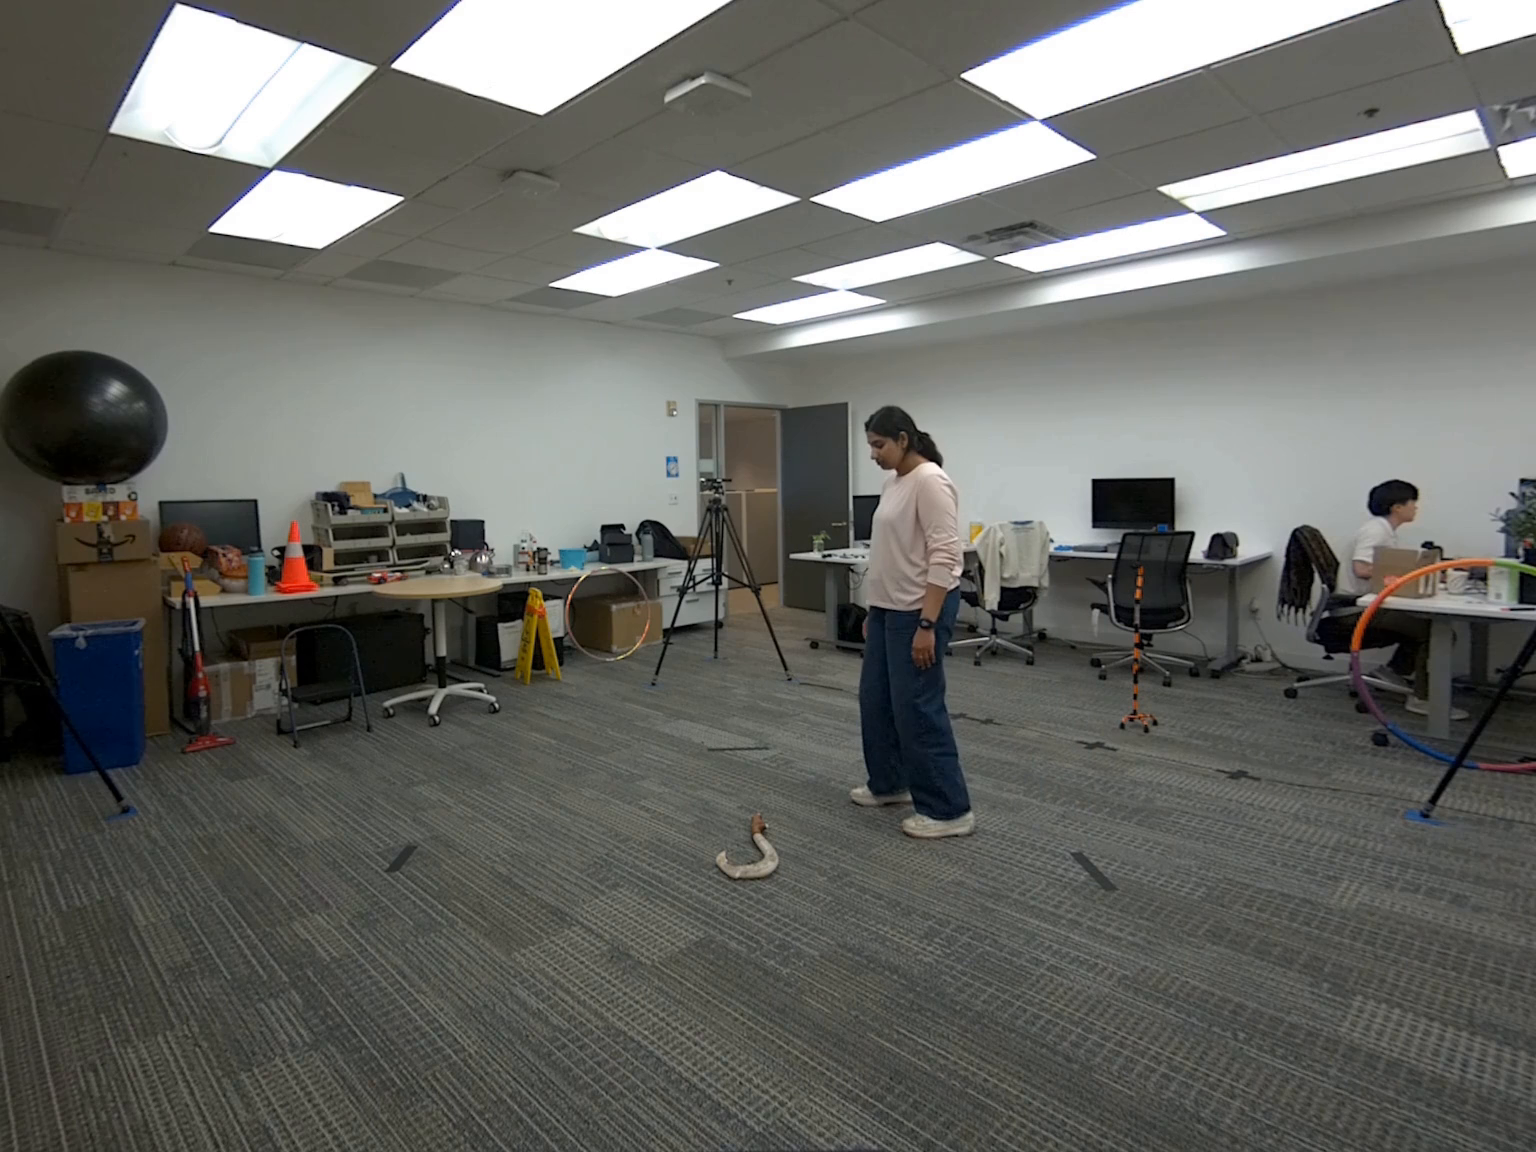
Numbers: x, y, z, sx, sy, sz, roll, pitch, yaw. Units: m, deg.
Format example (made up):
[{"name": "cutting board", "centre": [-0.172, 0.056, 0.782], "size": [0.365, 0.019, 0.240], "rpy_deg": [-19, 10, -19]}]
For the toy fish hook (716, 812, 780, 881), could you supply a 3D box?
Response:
[{"name": "toy fish hook", "centre": [-0.082, 1.008, 3.220], "size": [0.224, 0.048, 0.510], "rpy_deg": [-1, 6, -3]}]
